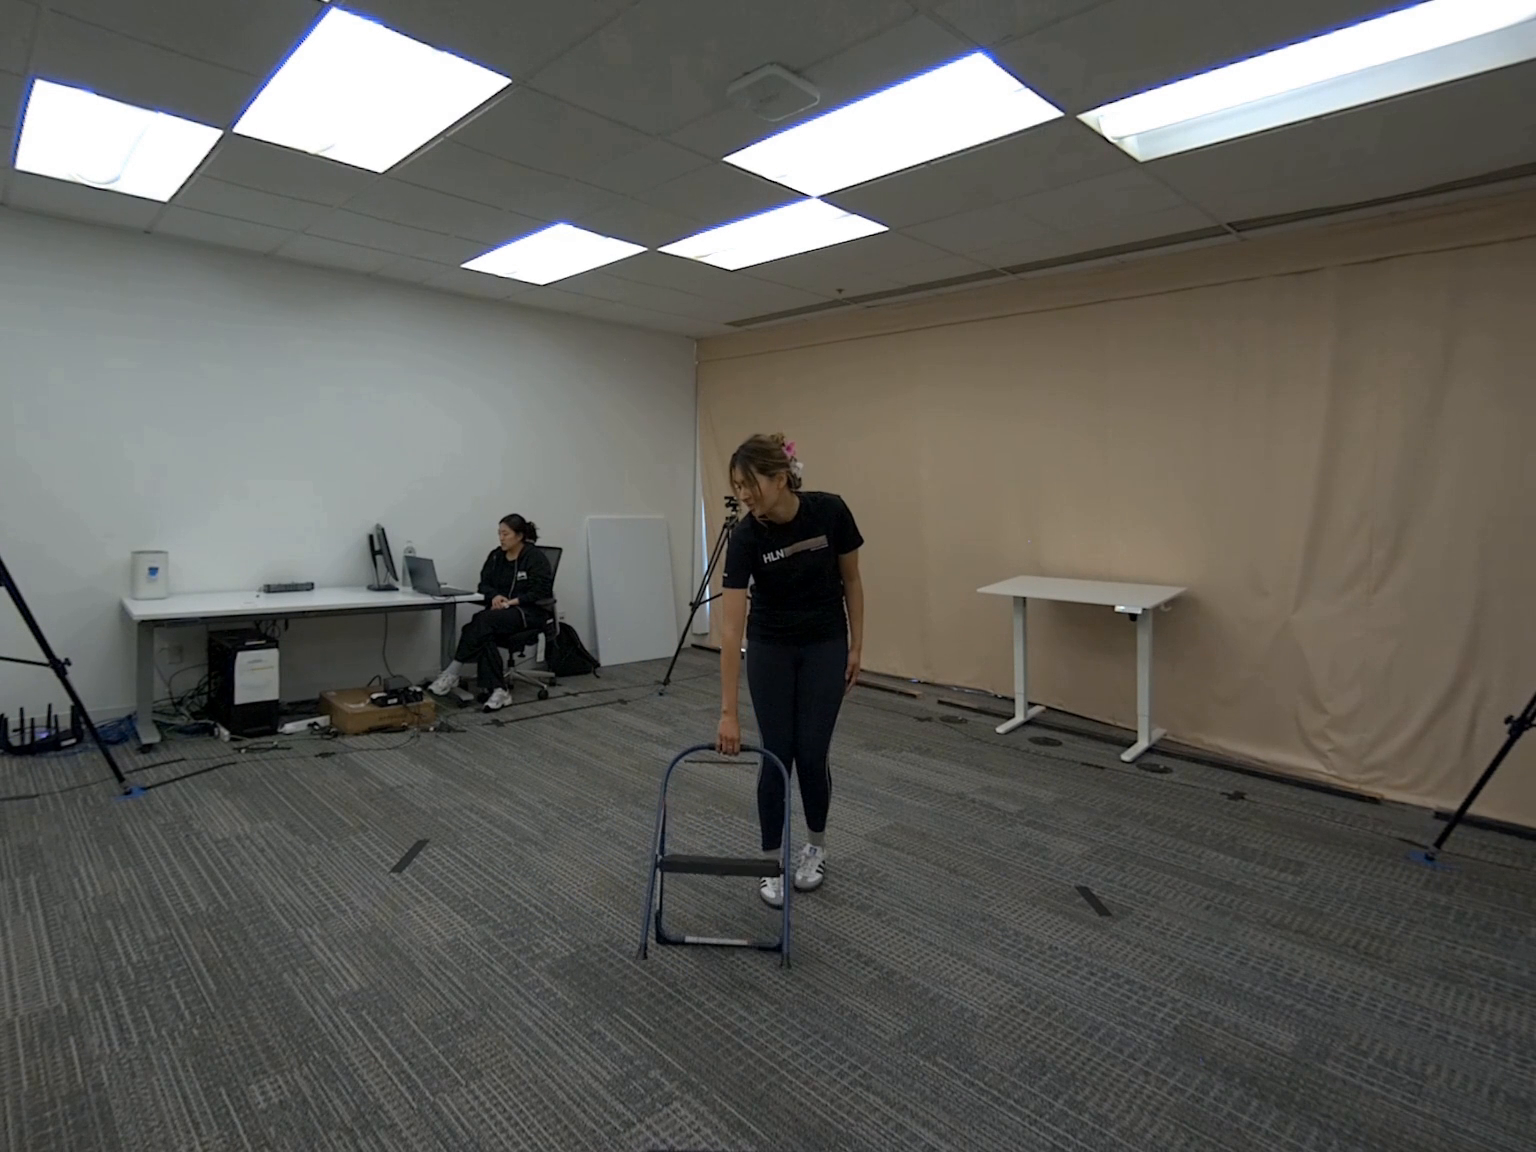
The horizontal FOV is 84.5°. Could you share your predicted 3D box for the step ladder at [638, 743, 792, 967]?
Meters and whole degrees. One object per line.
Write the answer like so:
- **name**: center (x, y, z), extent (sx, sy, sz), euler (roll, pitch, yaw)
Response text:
- **step ladder**: center (-0.144, 0.822, 2.542), extent (0.432, 0.613, 0.344), euler (2, -17, 2)
